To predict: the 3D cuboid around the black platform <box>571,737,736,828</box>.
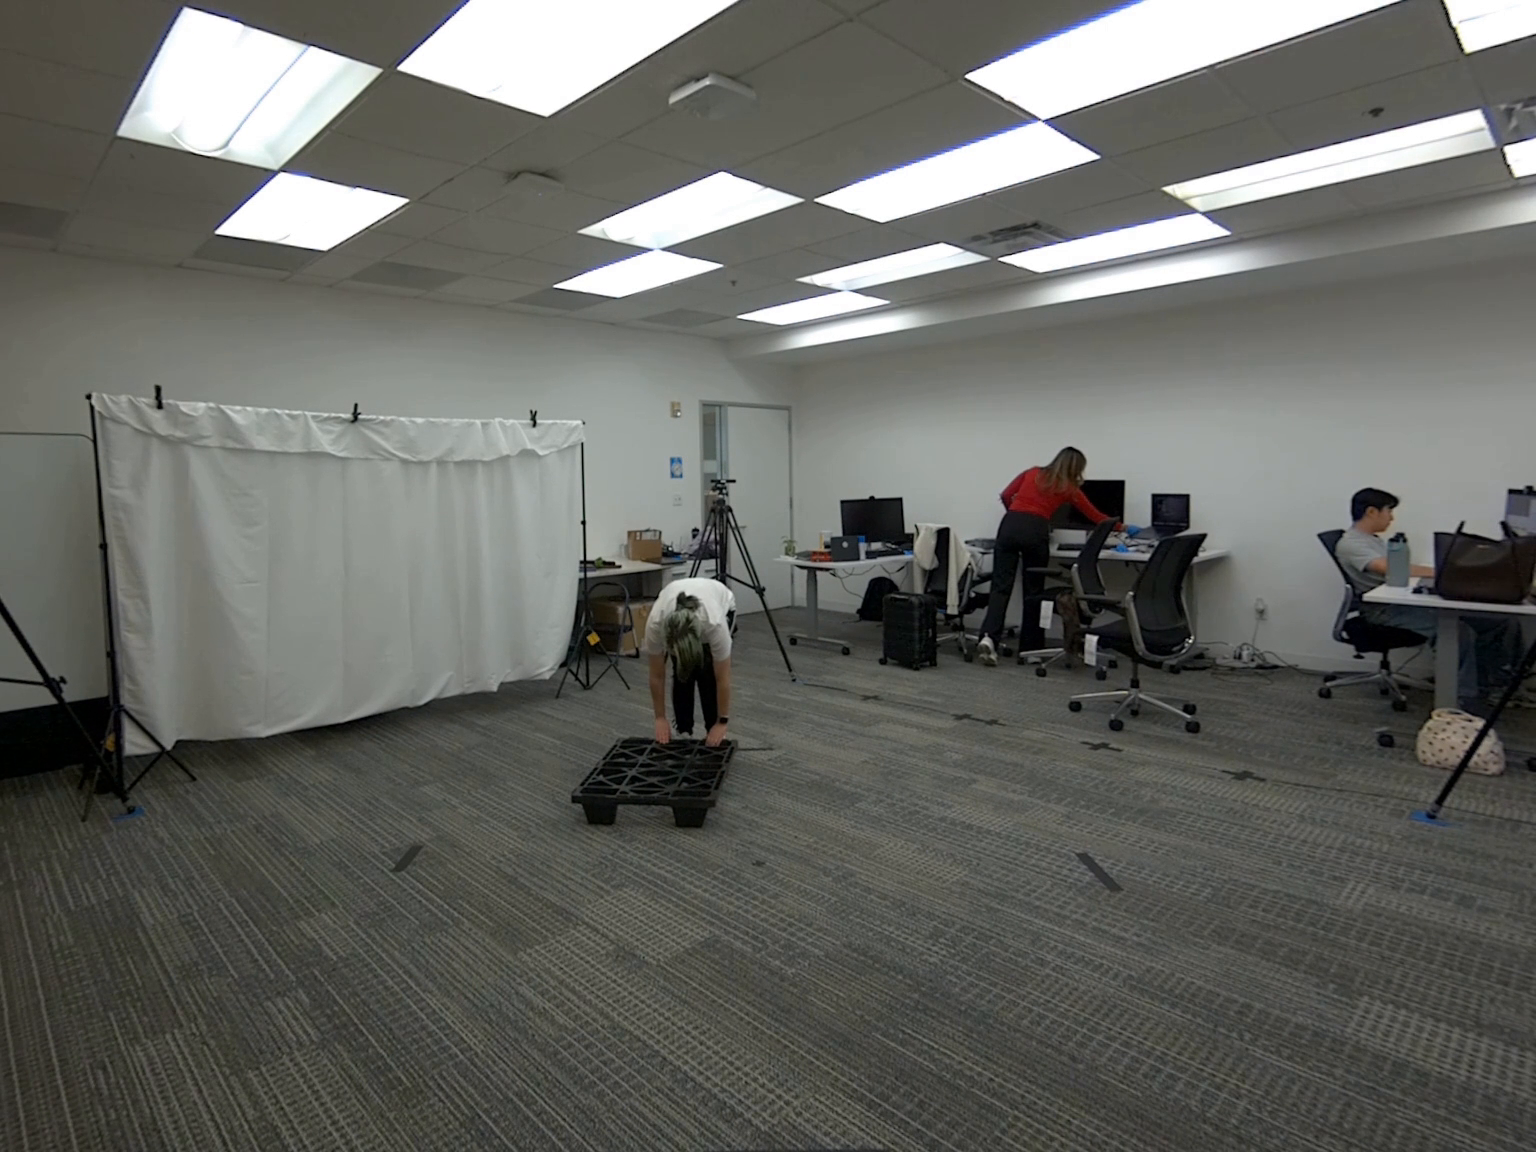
[{"bbox_3d":[-0.476,0.909,3.825,0.609,0.143,0.803,-2,6,6],"label":"black platform"}]
